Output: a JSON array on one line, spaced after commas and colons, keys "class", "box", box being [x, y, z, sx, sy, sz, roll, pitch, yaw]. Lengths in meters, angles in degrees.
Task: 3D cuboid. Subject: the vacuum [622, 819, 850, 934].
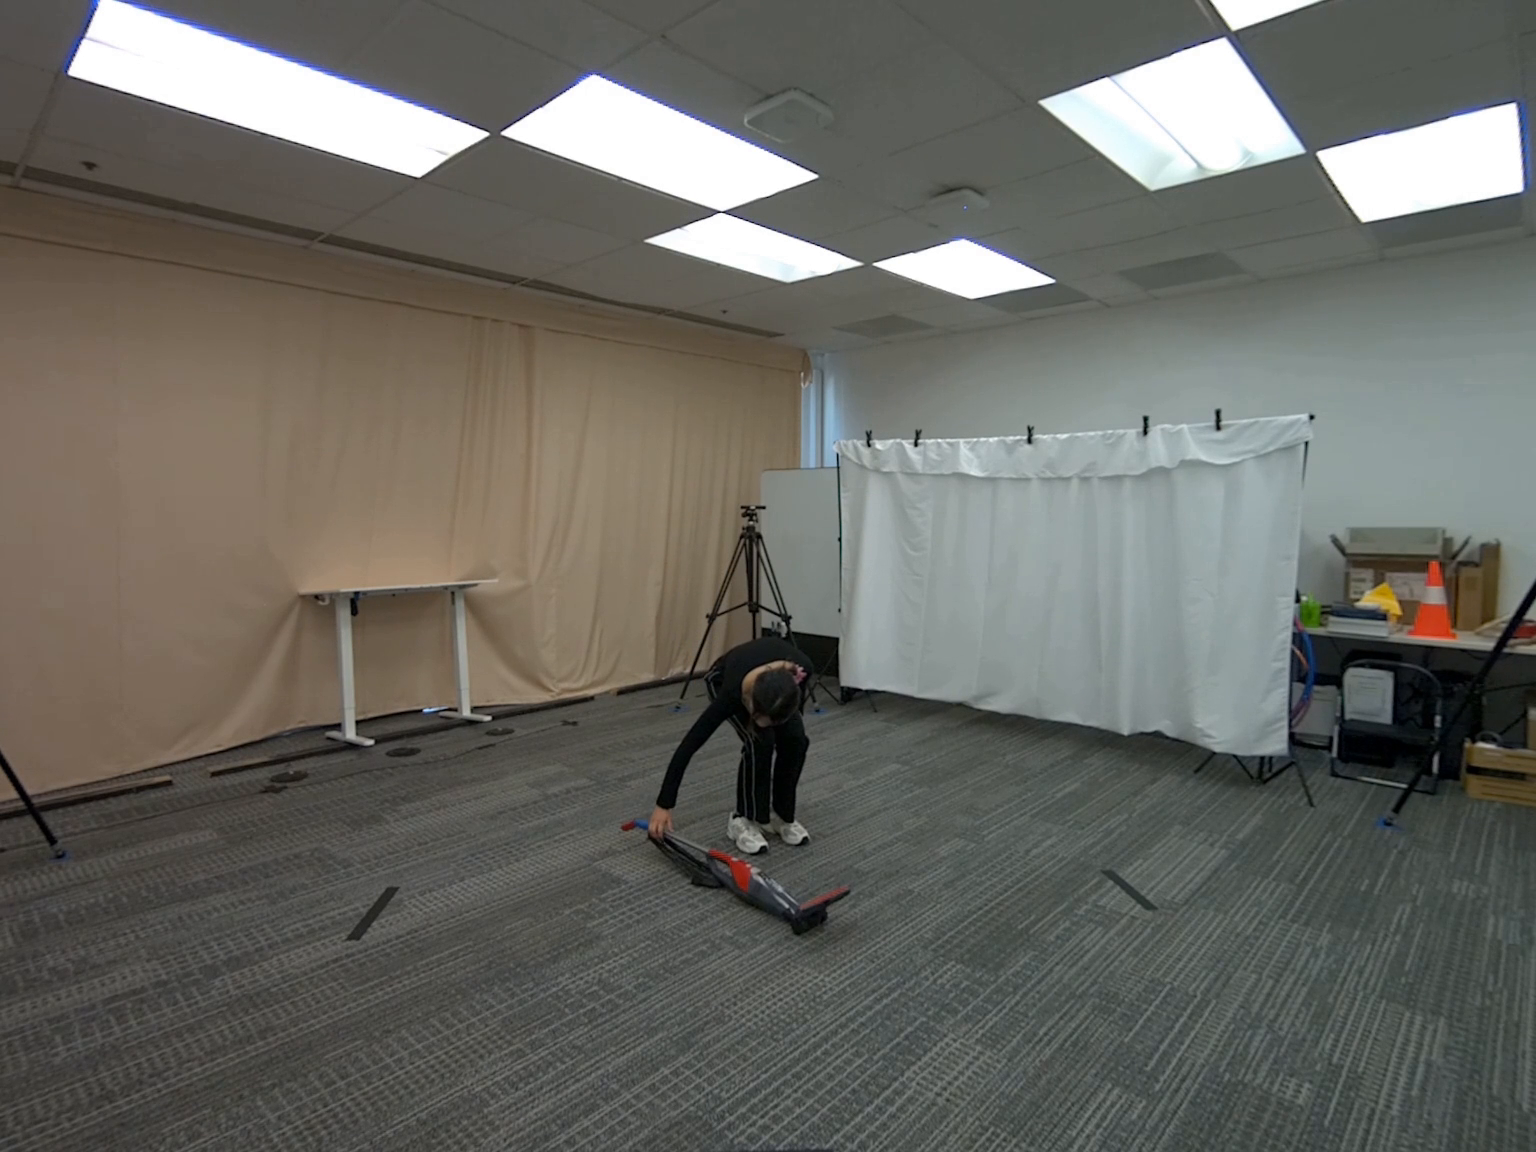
[{"class": "vacuum", "box": [-0.212, 1.068, 3.126, 1.084, 0.144, 0.244, 3, -1, 44]}]
